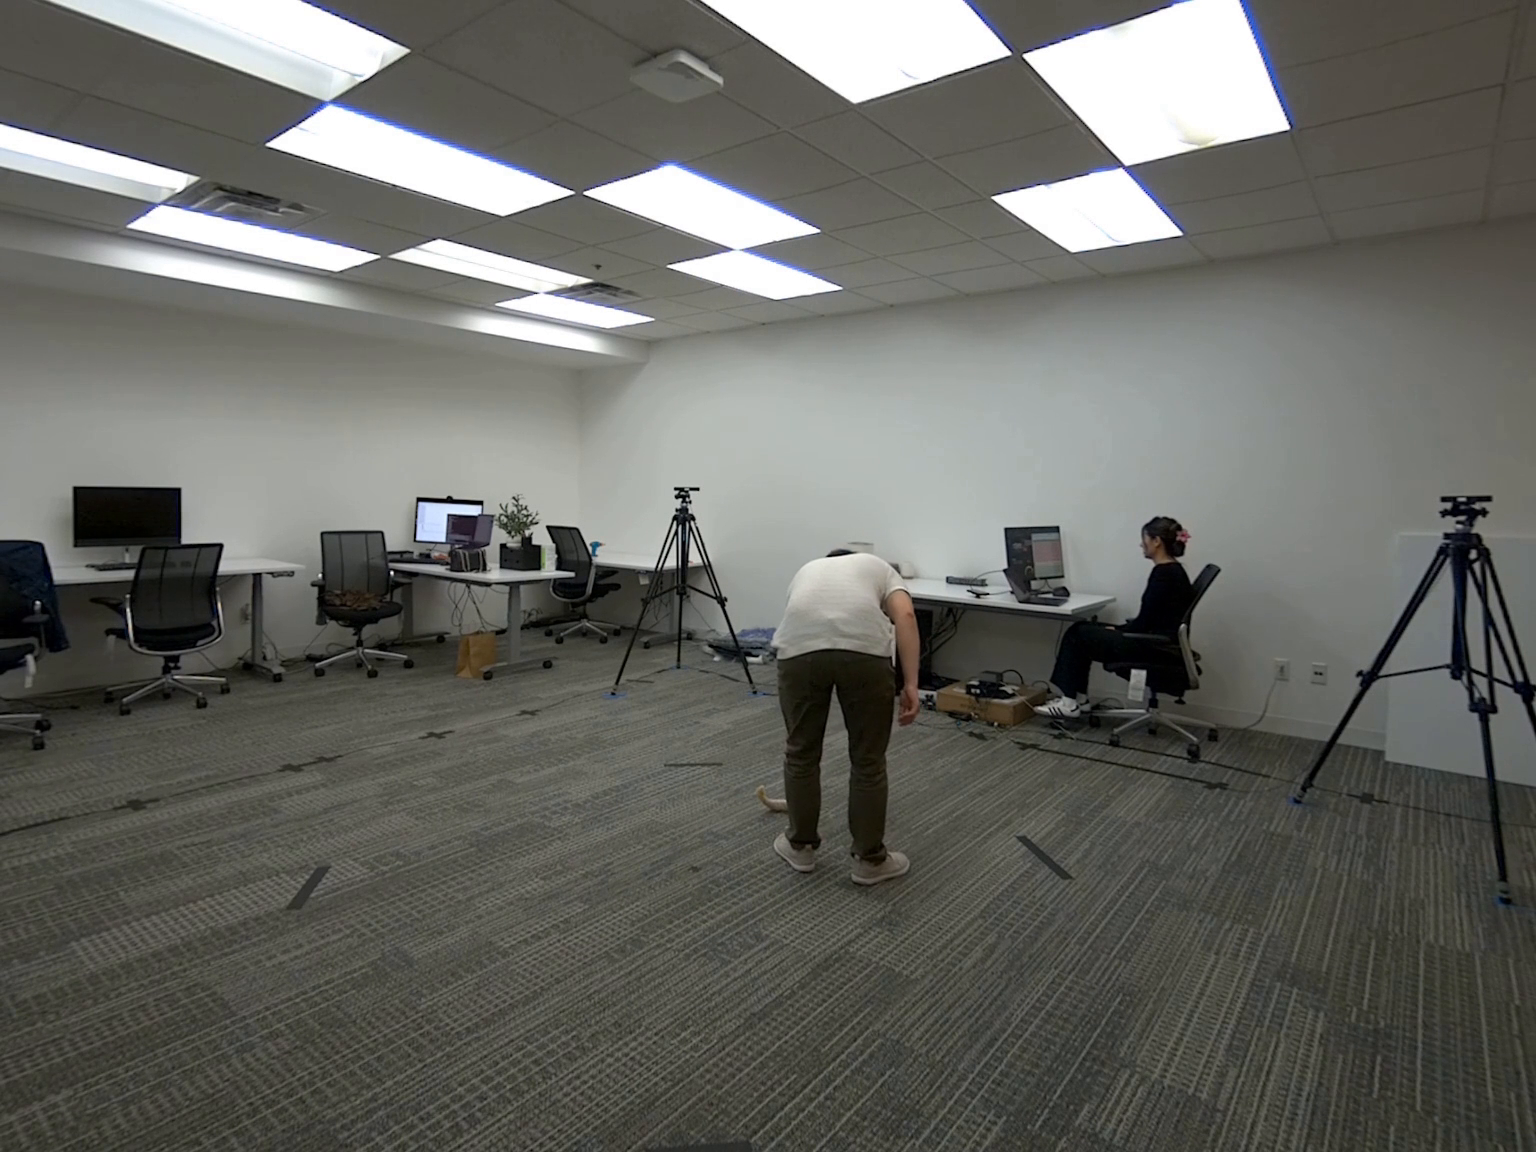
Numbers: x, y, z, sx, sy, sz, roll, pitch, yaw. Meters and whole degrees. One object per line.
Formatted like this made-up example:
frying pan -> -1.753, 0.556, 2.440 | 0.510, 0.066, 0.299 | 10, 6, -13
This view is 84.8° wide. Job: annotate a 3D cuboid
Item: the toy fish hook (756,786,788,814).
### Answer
toy fish hook -> 0.052, 0.840, 3.518 | 0.224, 0.492, 0.050 | -1, 46, -3
